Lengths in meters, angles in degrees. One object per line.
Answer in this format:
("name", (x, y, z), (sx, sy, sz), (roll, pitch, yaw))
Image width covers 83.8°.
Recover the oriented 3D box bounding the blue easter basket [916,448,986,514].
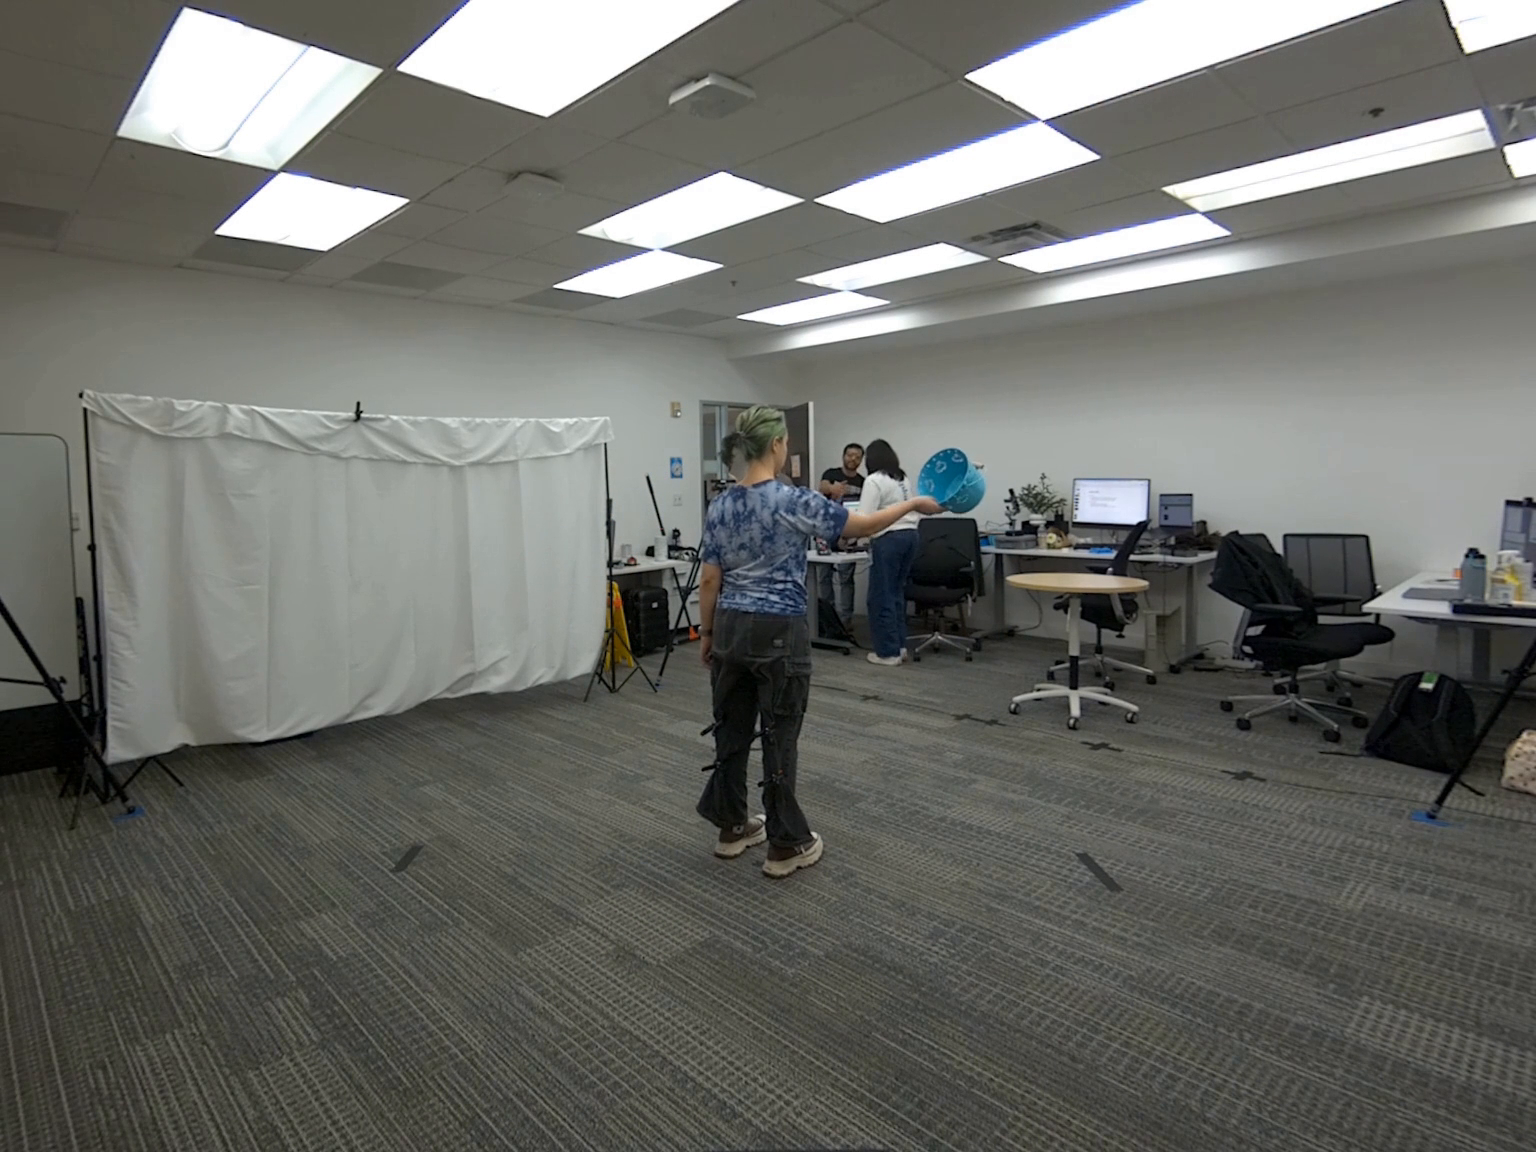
("blue easter basket", (0.708, -0.336, 3.236), (0.150, 0.245, 0.251), (29, -14, -35))
